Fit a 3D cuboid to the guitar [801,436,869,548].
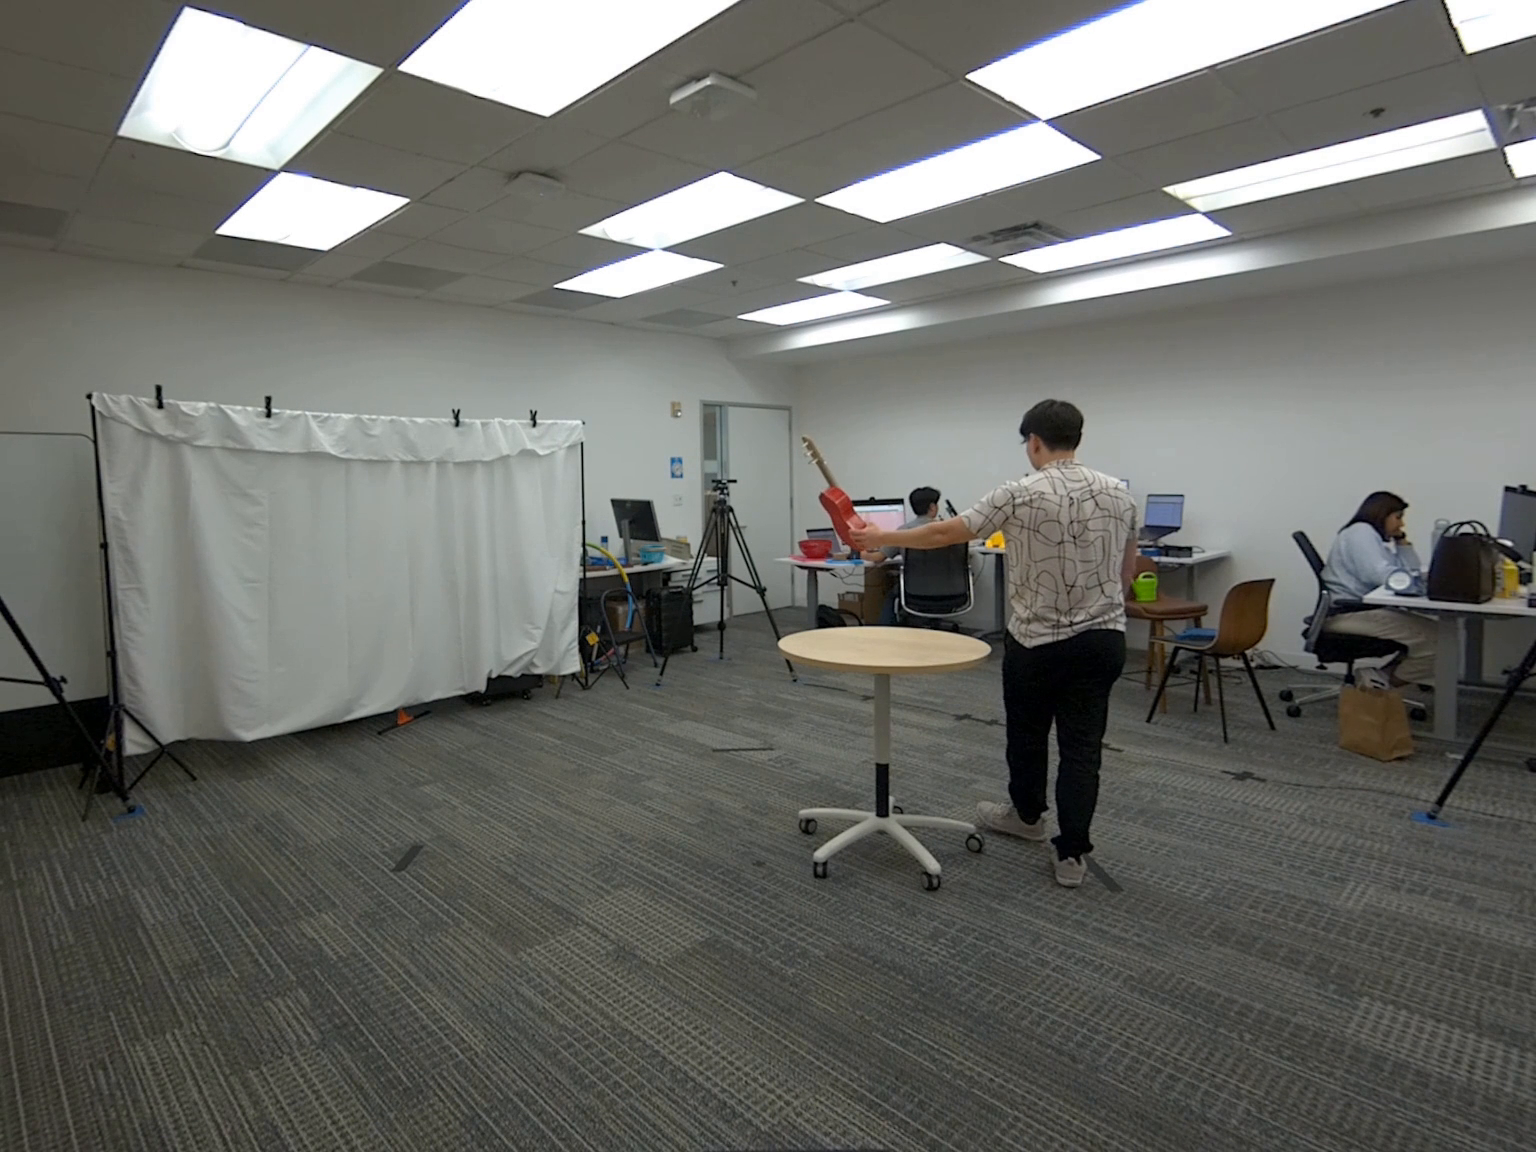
[{"bbox_3d":[0.241,-0.317,3.295,0.070,0.492,0.196,-37,10,-13],"label":"guitar"}]
